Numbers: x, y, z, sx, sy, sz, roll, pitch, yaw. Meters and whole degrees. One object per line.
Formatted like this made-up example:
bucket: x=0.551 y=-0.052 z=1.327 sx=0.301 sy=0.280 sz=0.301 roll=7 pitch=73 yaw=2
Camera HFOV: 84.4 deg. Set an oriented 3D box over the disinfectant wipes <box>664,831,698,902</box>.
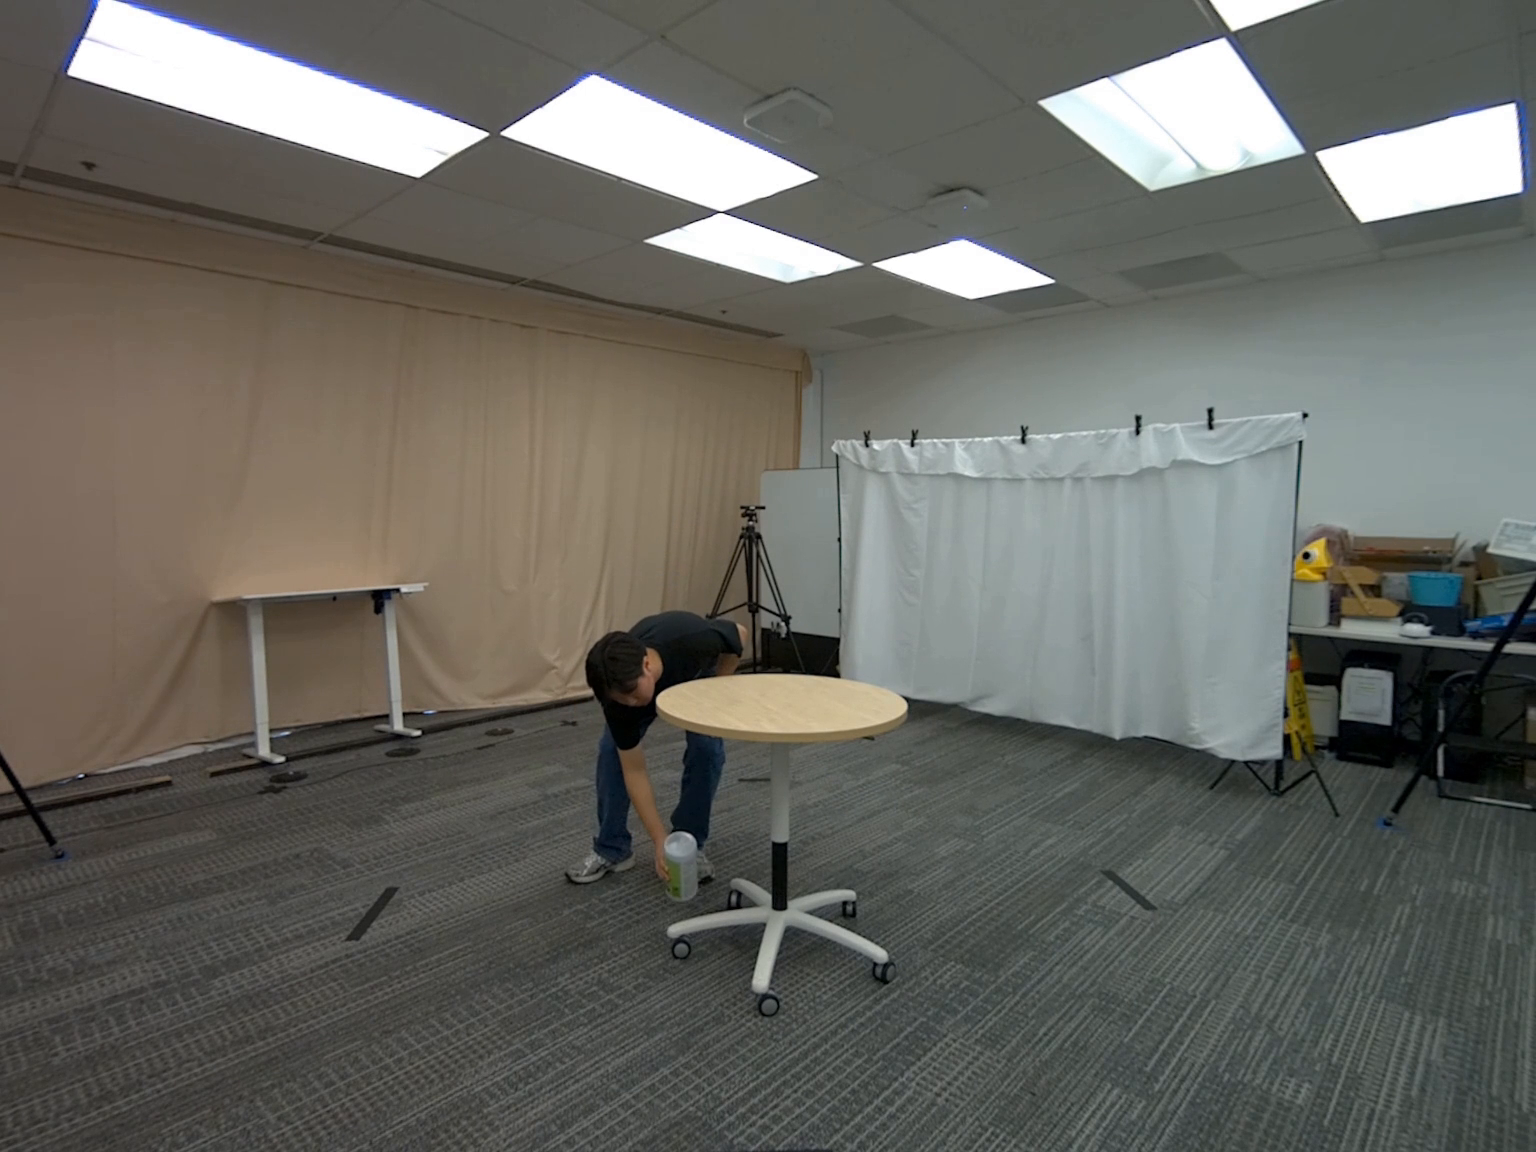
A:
disinfectant wipes: x=-0.287 y=0.957 z=2.784 sx=0.117 sy=0.214 sz=0.120 roll=1 pitch=27 yaw=-2
